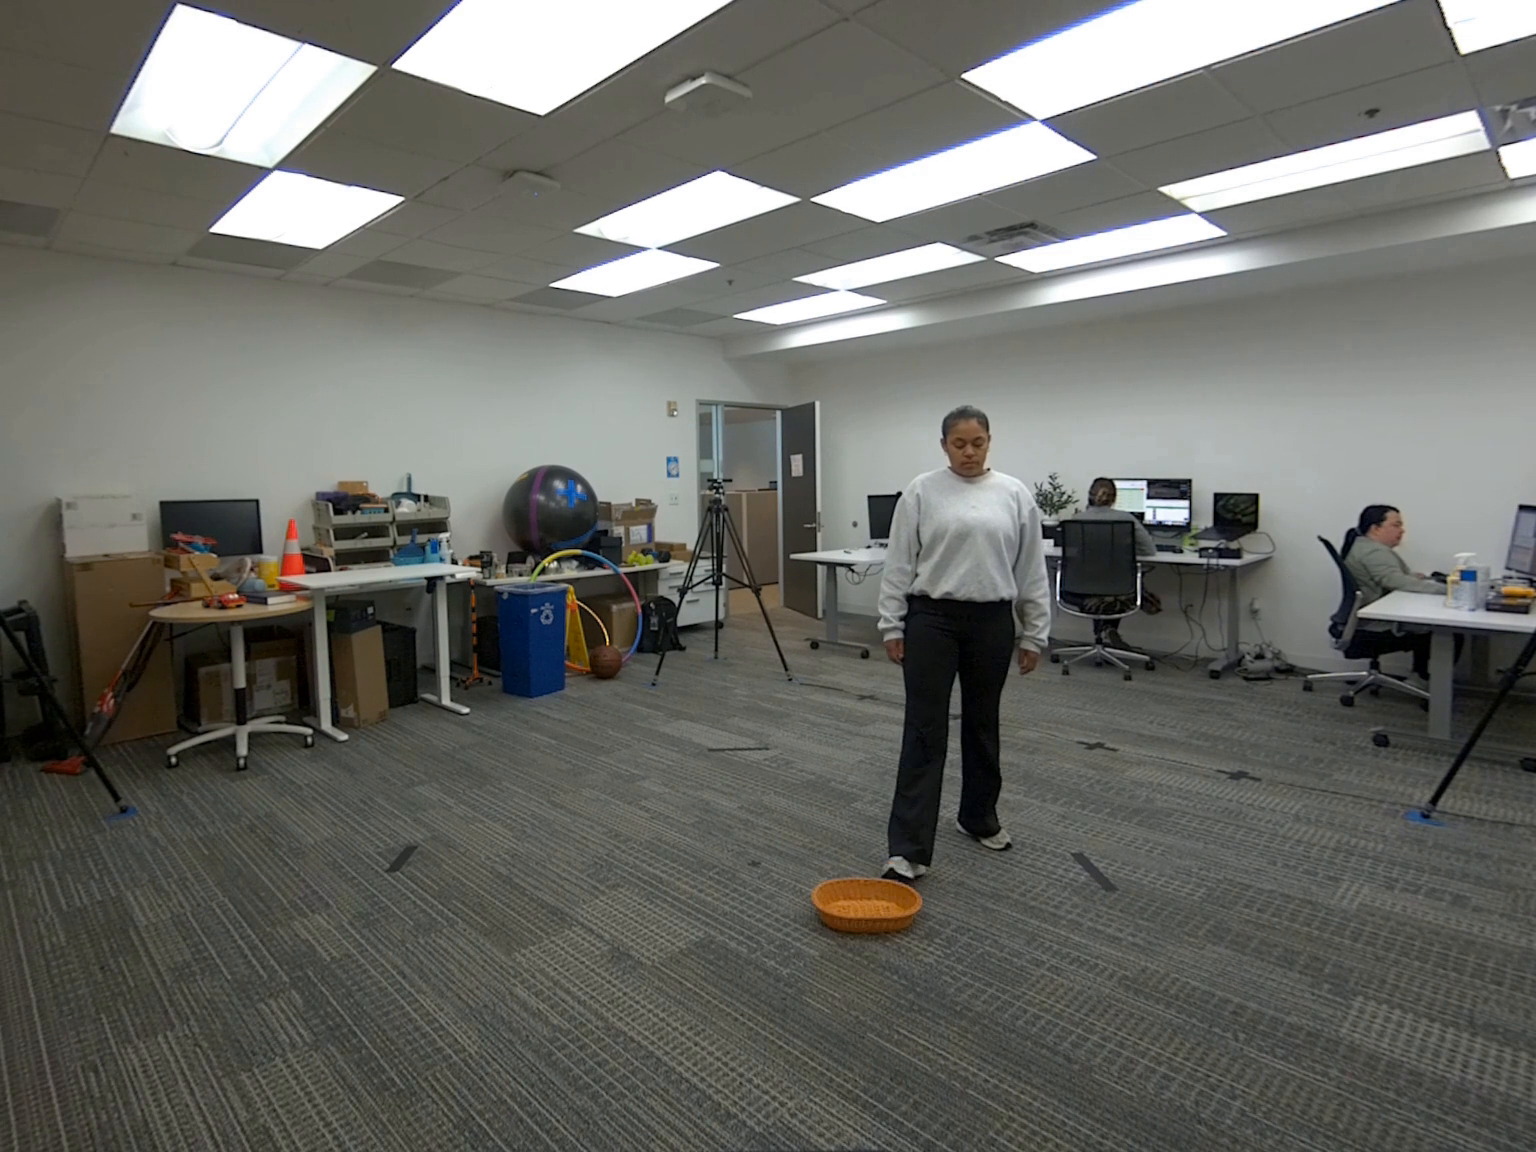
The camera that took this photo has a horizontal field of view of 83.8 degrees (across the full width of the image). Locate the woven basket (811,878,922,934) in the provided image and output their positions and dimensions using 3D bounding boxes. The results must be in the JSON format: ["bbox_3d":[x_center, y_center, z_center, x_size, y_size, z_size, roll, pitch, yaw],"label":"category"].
[{"bbox_3d":[0.320,1.038,2.707,0.351,0.073,0.254,-3,7,0],"label":"woven basket"}]
